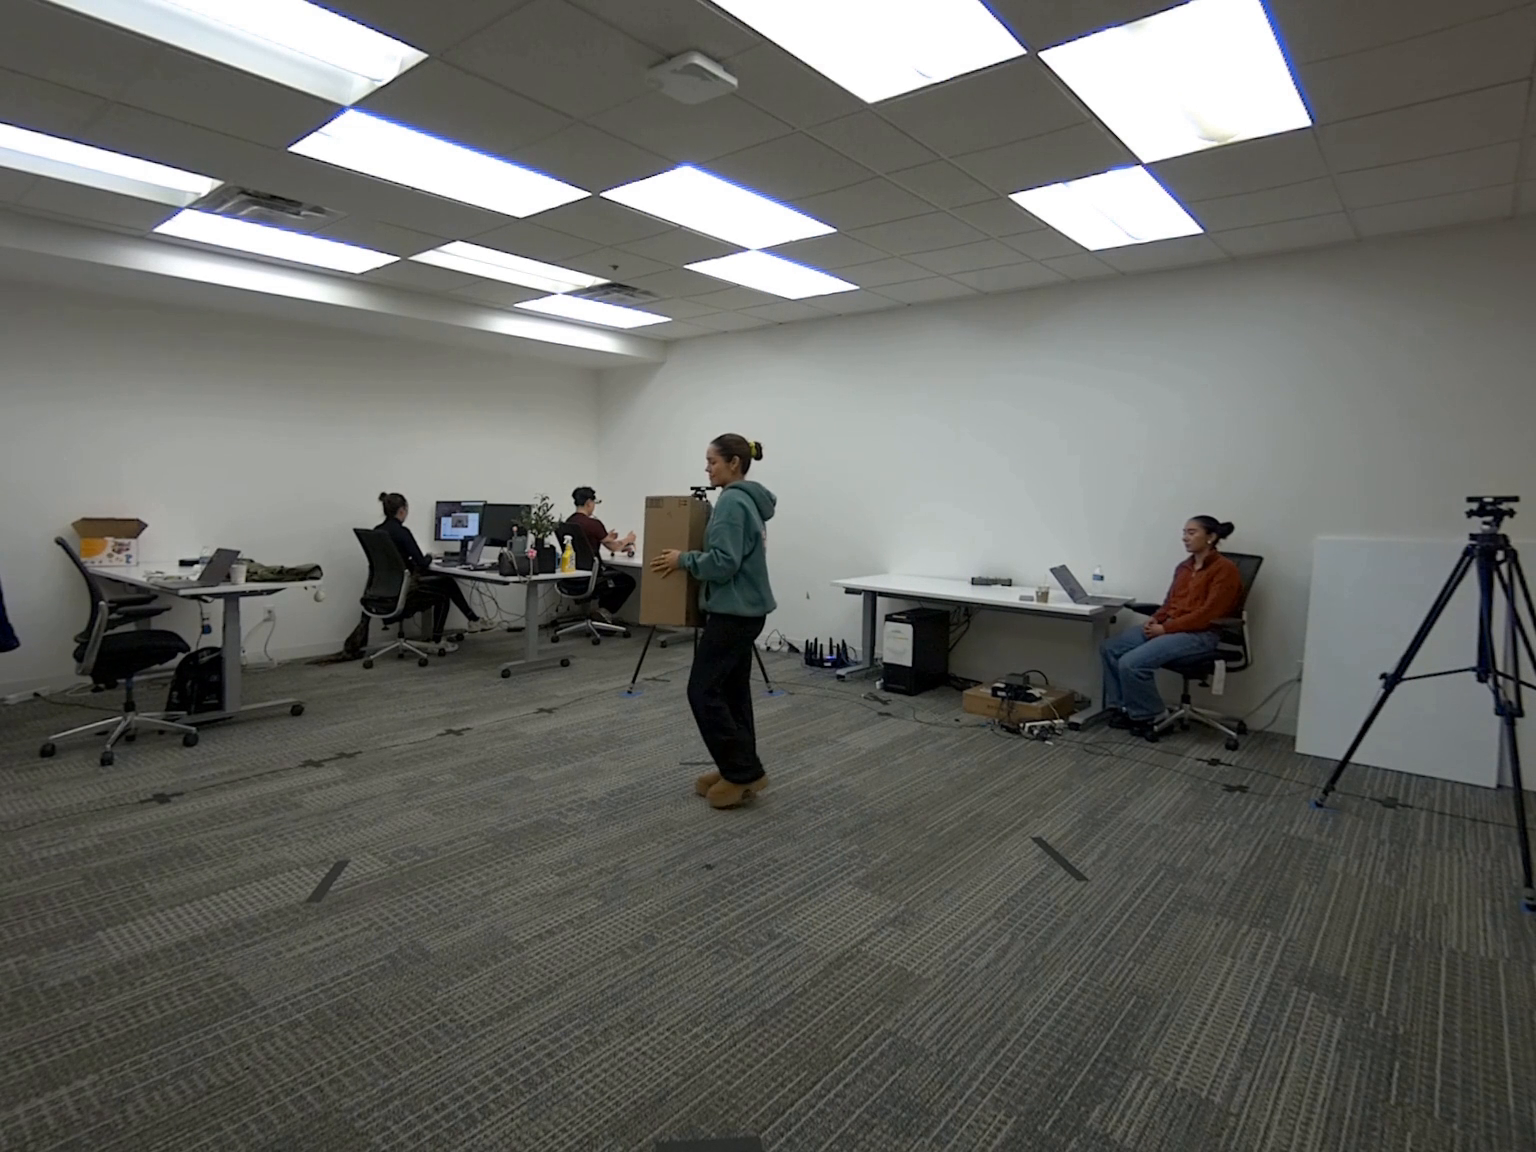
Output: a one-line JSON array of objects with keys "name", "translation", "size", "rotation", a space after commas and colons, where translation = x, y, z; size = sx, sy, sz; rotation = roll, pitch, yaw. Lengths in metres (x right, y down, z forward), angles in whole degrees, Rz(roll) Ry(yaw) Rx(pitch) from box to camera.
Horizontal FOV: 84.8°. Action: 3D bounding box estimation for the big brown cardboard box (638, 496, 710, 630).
[{"name": "big brown cardboard box", "translation": [-0.405, -0.054, 3.892], "size": [0.237, 0.591, 0.408], "rotation": [0, -4, 17]}]
